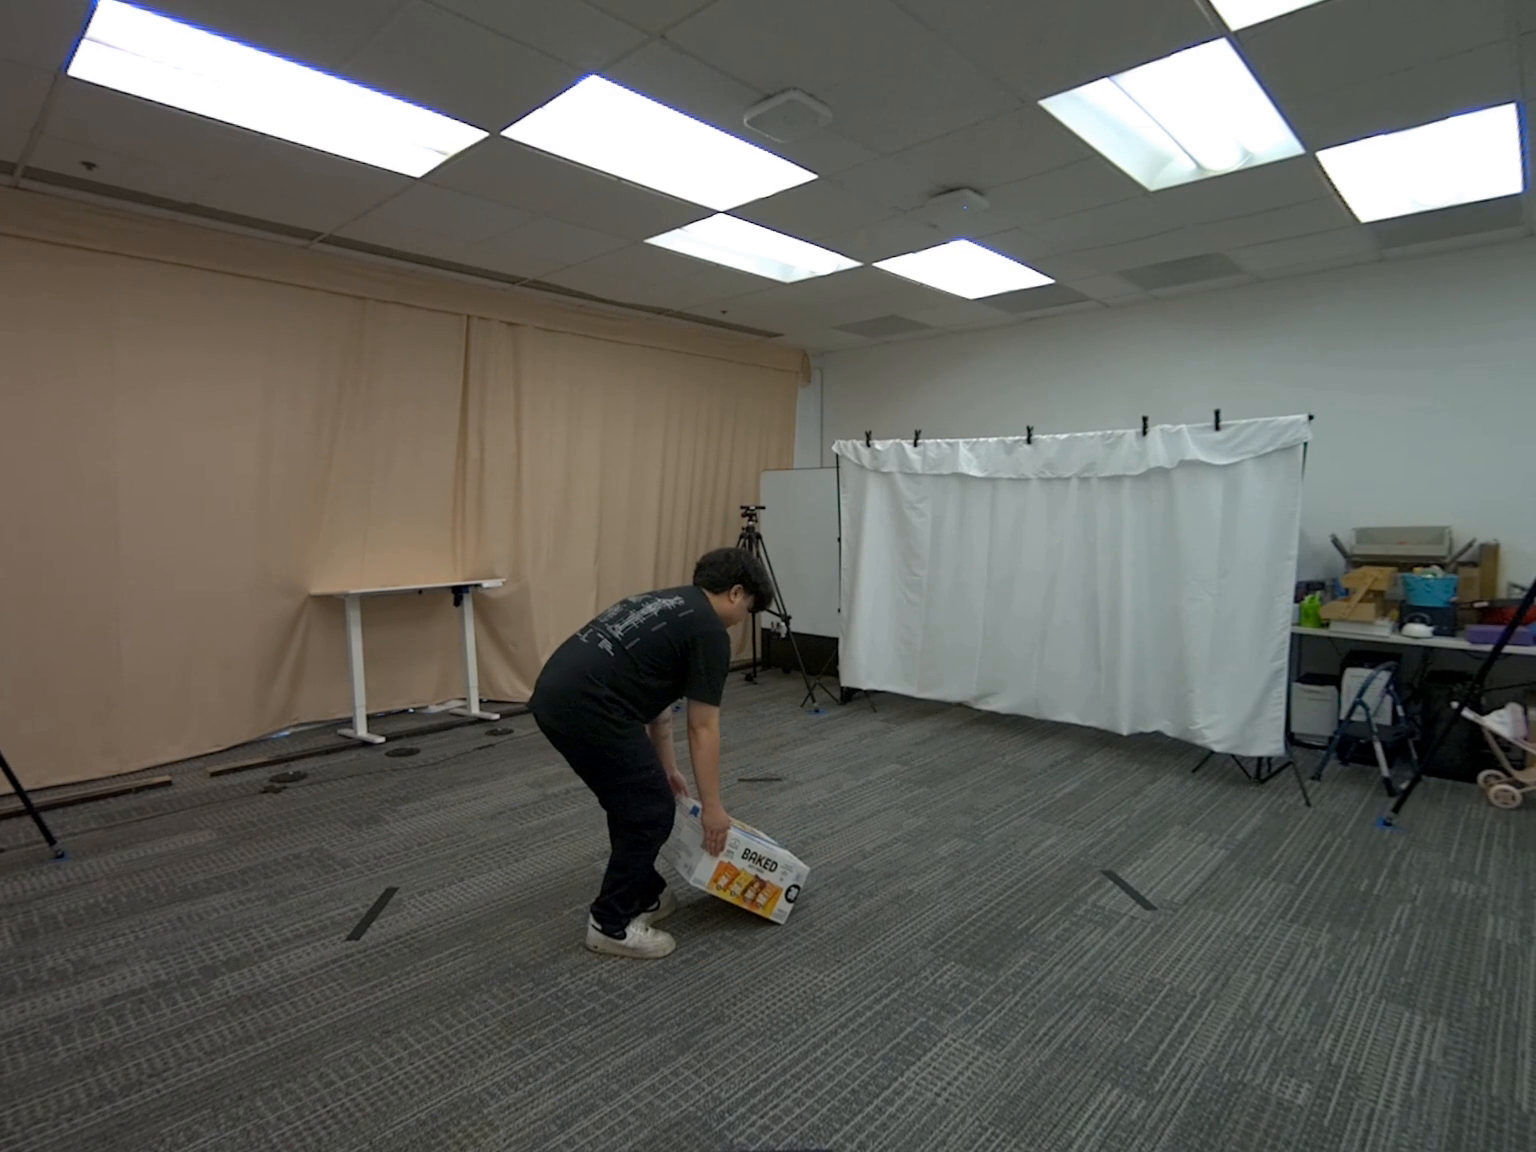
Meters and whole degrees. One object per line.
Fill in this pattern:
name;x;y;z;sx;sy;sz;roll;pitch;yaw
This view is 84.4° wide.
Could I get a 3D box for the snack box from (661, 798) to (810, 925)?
snack box;-0.130;0.963;2.875;0.394;0.206;0.350;33;-11;-26
